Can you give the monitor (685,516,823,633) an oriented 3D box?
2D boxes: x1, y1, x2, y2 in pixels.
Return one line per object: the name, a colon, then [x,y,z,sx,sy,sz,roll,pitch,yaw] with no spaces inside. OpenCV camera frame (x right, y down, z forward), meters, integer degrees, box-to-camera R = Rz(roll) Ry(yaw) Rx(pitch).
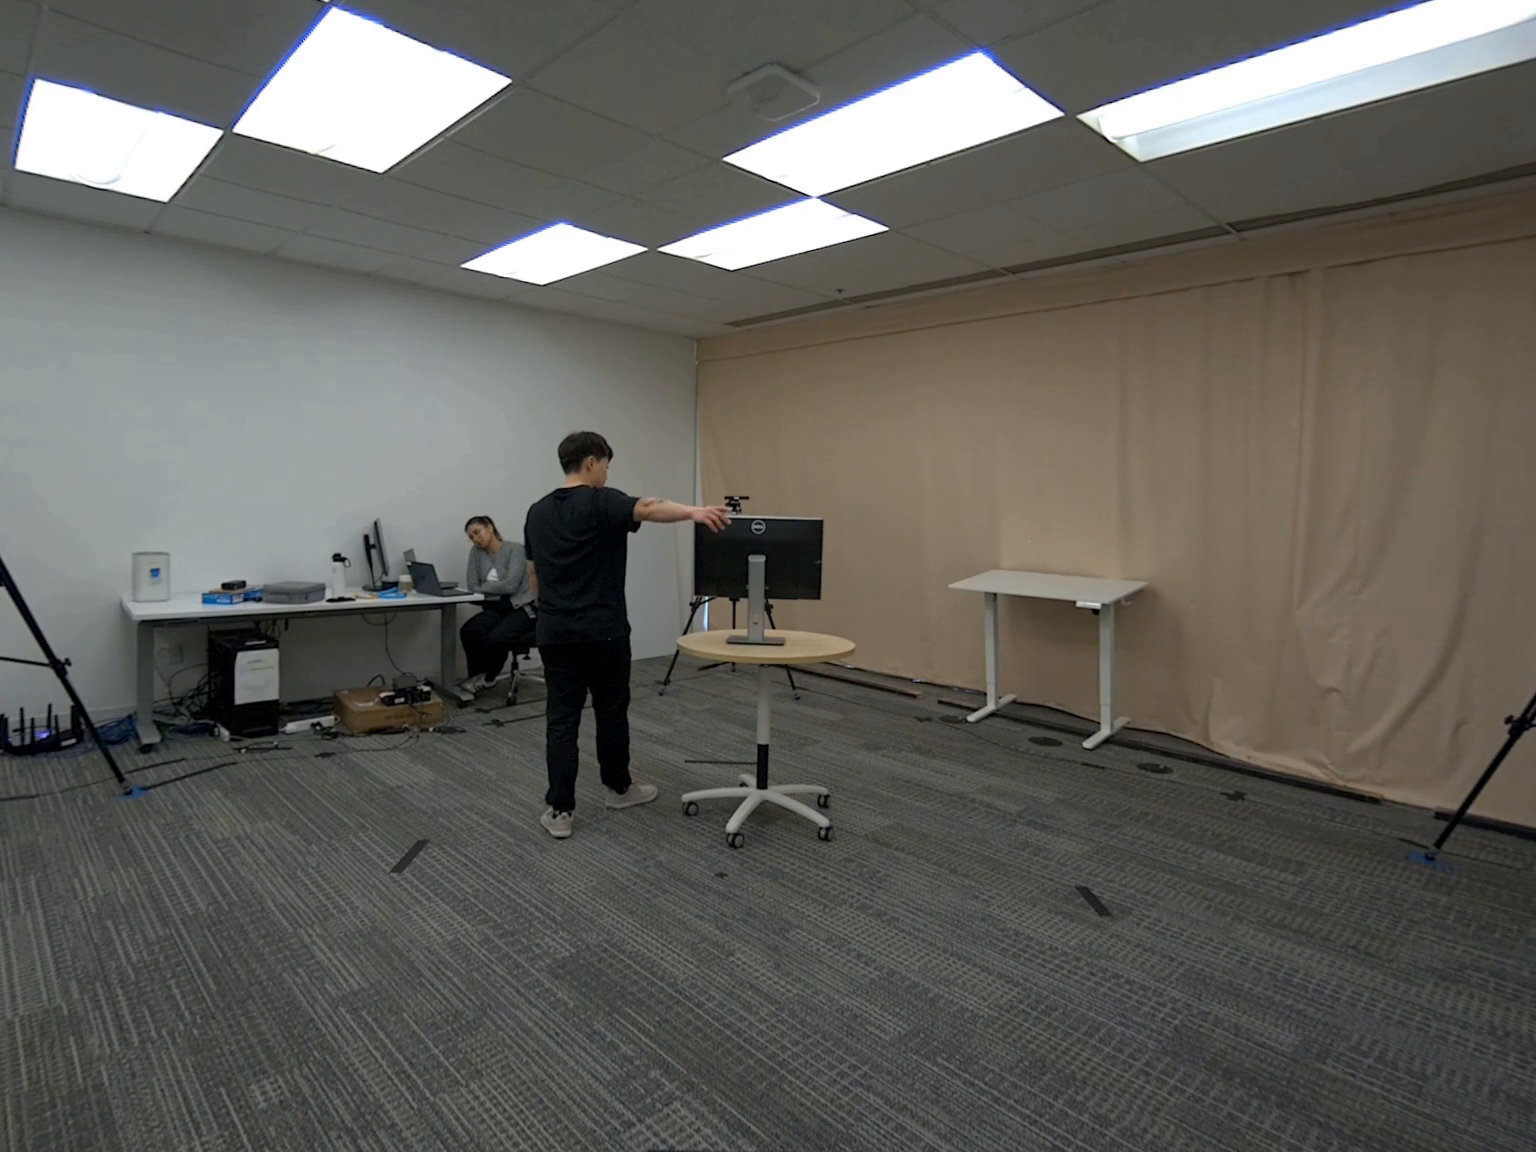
monitor: [-0.052,0.014,3.610,0.540,0.522,0.187,2,1,1]
